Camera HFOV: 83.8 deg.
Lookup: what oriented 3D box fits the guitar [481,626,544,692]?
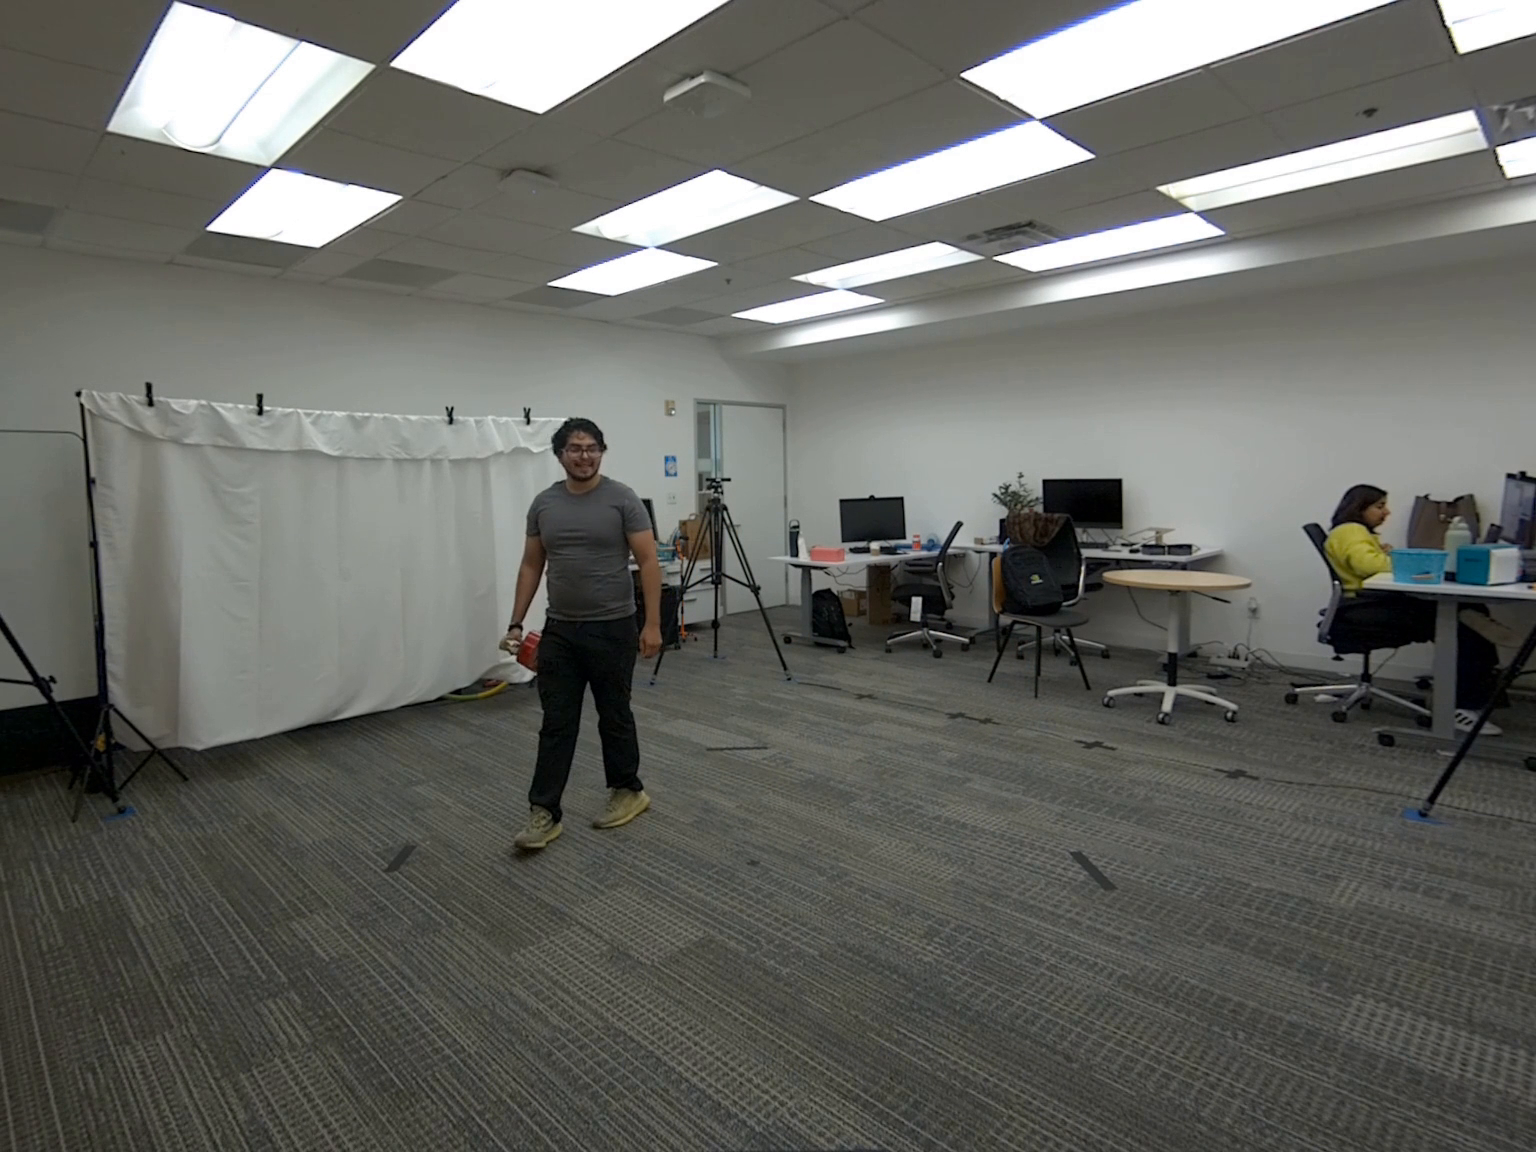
[{"bbox_3d":[-0.989,0.324,3.463,0.071,0.193,0.494,21,3,5],"label":"guitar"}]
